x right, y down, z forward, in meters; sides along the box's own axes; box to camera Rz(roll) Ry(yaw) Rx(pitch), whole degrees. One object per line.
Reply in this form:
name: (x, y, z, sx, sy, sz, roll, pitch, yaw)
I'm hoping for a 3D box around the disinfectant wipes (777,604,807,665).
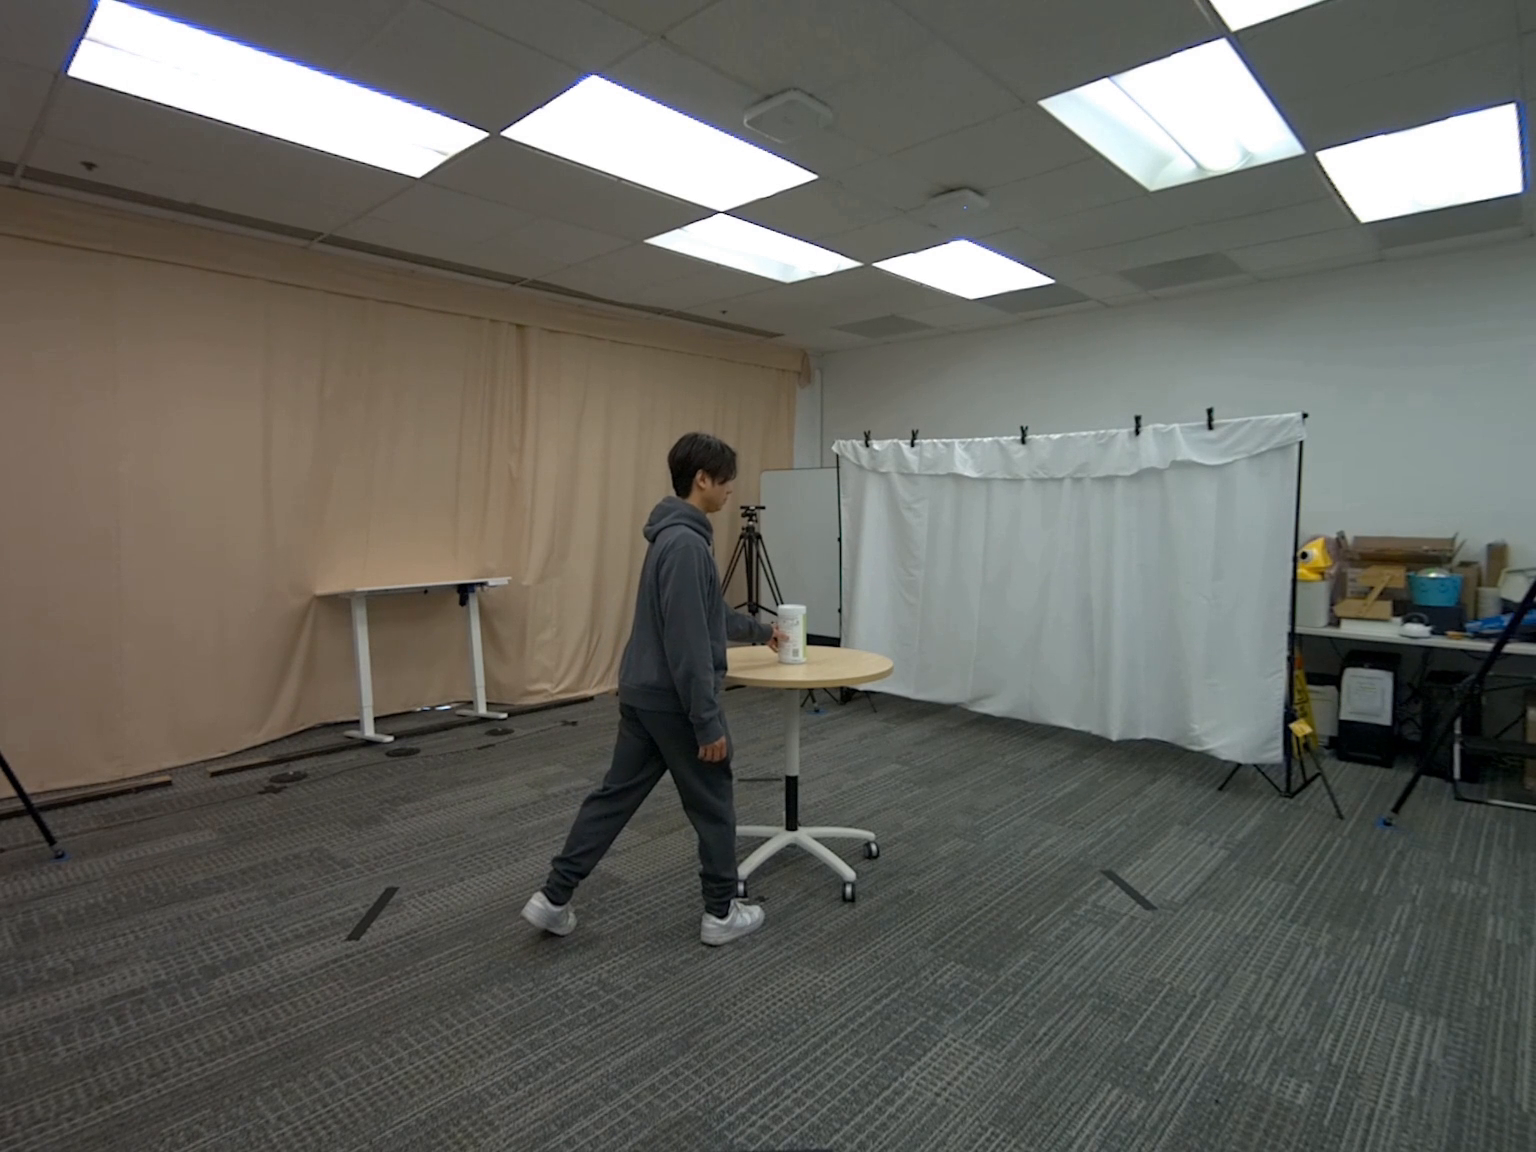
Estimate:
disinfectant wipes: (0.091, 0.222, 3.202, 0.118, 0.217, 0.118, 1, 1, -2)
